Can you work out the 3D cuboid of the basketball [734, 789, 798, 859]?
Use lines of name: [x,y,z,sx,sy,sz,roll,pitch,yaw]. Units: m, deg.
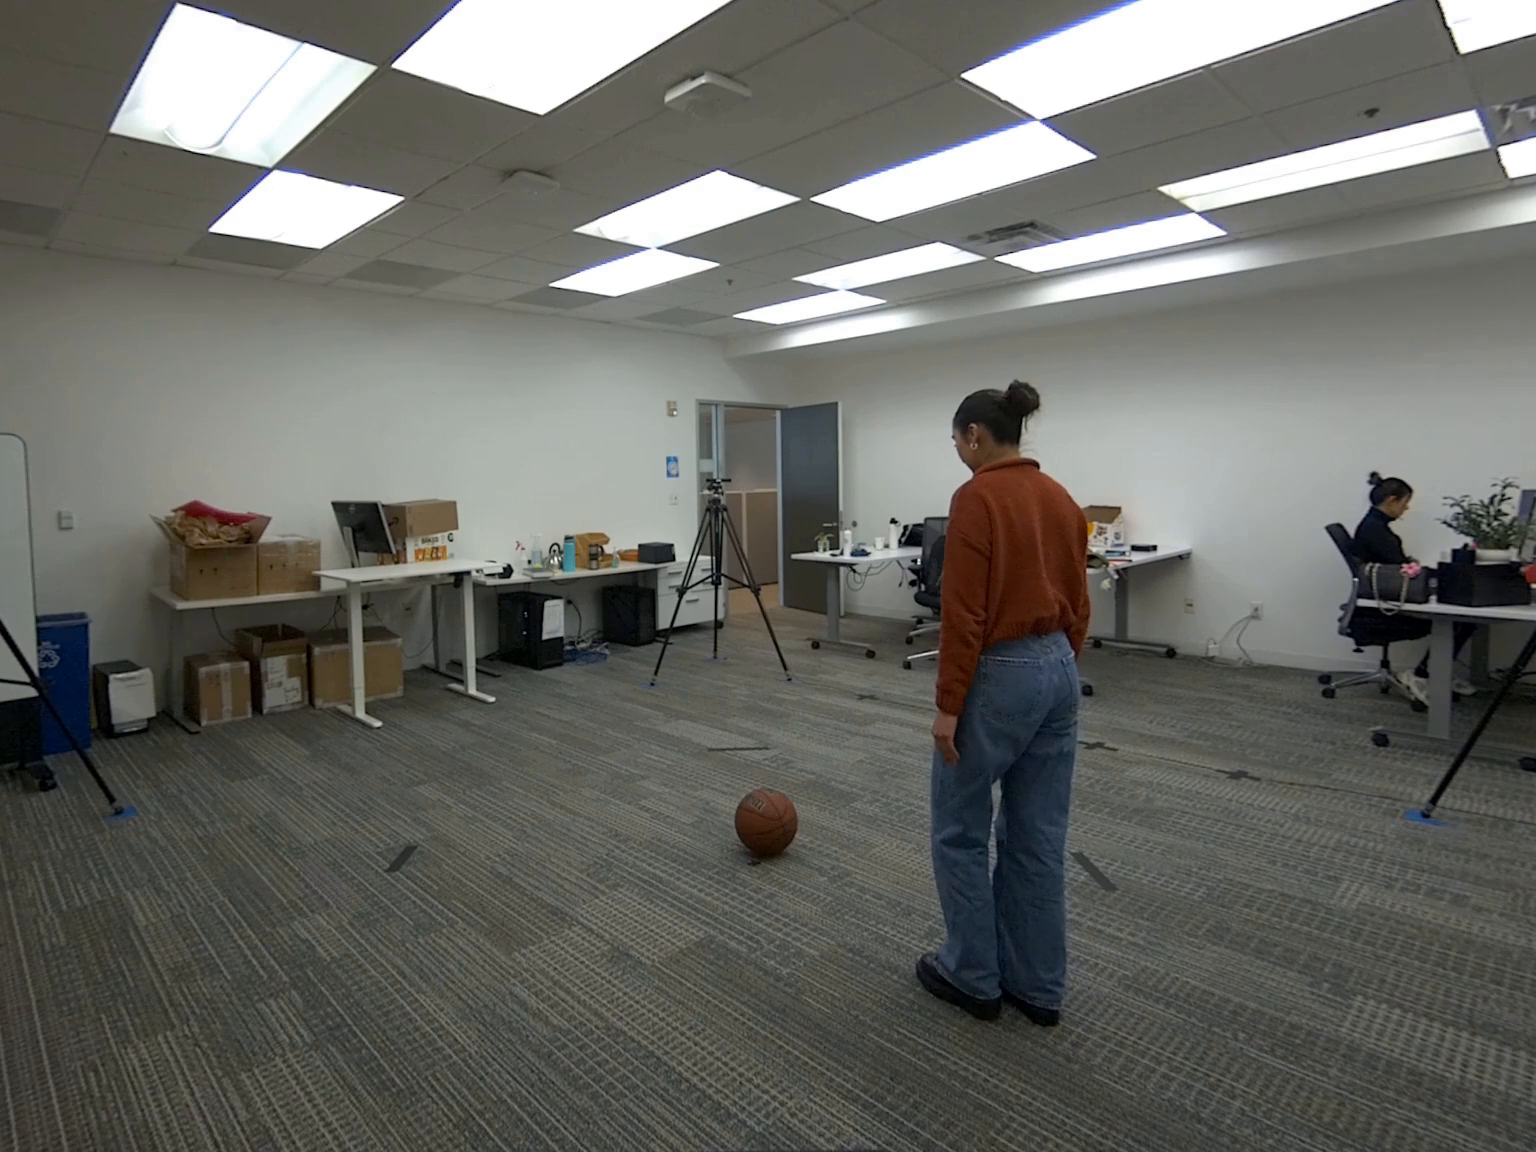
basketball: [-0.002,0.917,3.187,0.236,0.235,0.237,-1,5,-2]
